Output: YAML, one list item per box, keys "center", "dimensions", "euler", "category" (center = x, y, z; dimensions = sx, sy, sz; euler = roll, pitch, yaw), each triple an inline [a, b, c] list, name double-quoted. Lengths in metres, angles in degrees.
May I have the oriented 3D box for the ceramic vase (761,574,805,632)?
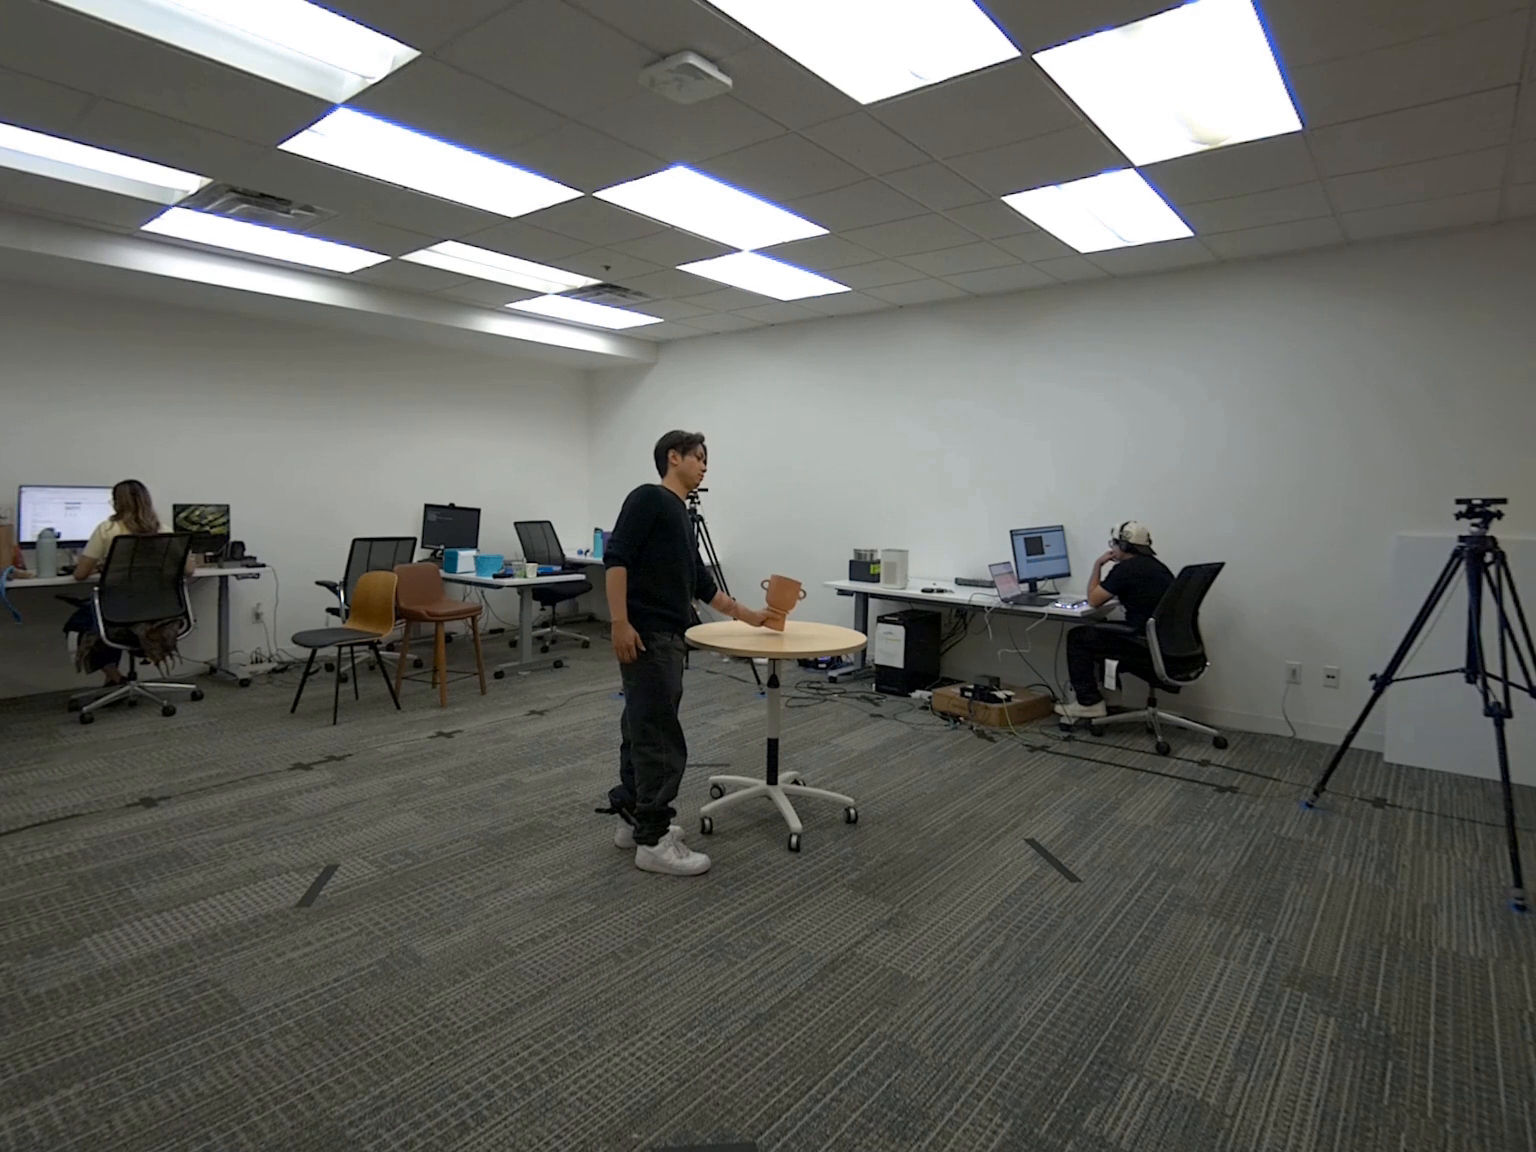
- center: [0.037, 0.112, 3.590]
  dimensions: [0.165, 0.220, 0.130]
  euler: [16, 1, 36]
  category: "ceramic vase"
